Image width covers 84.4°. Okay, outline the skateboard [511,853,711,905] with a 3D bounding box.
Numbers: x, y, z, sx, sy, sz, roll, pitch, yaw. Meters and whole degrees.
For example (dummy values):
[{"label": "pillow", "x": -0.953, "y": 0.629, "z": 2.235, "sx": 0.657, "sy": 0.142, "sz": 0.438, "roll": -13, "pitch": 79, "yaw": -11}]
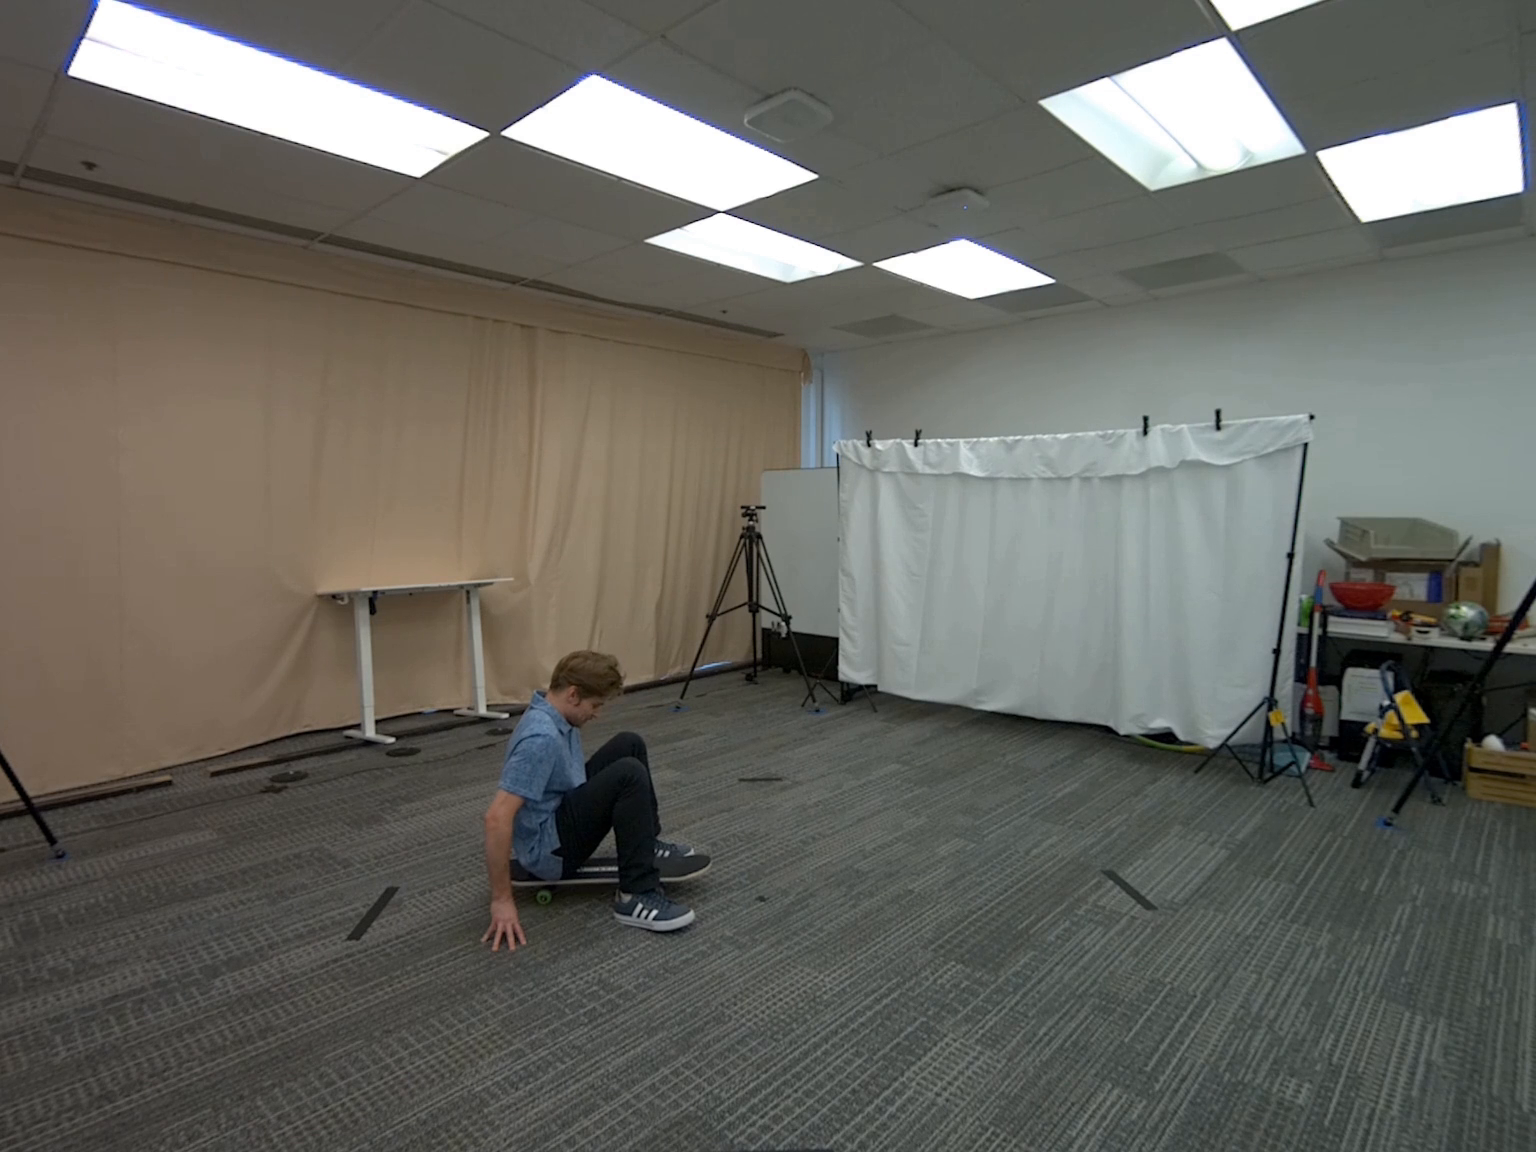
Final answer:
[{"label": "skateboard", "x": -0.594, "y": 1.089, "z": 3.035, "sx": 0.783, "sy": 0.110, "sz": 0.194, "roll": -3, "pitch": 4, "yaw": -3}]
